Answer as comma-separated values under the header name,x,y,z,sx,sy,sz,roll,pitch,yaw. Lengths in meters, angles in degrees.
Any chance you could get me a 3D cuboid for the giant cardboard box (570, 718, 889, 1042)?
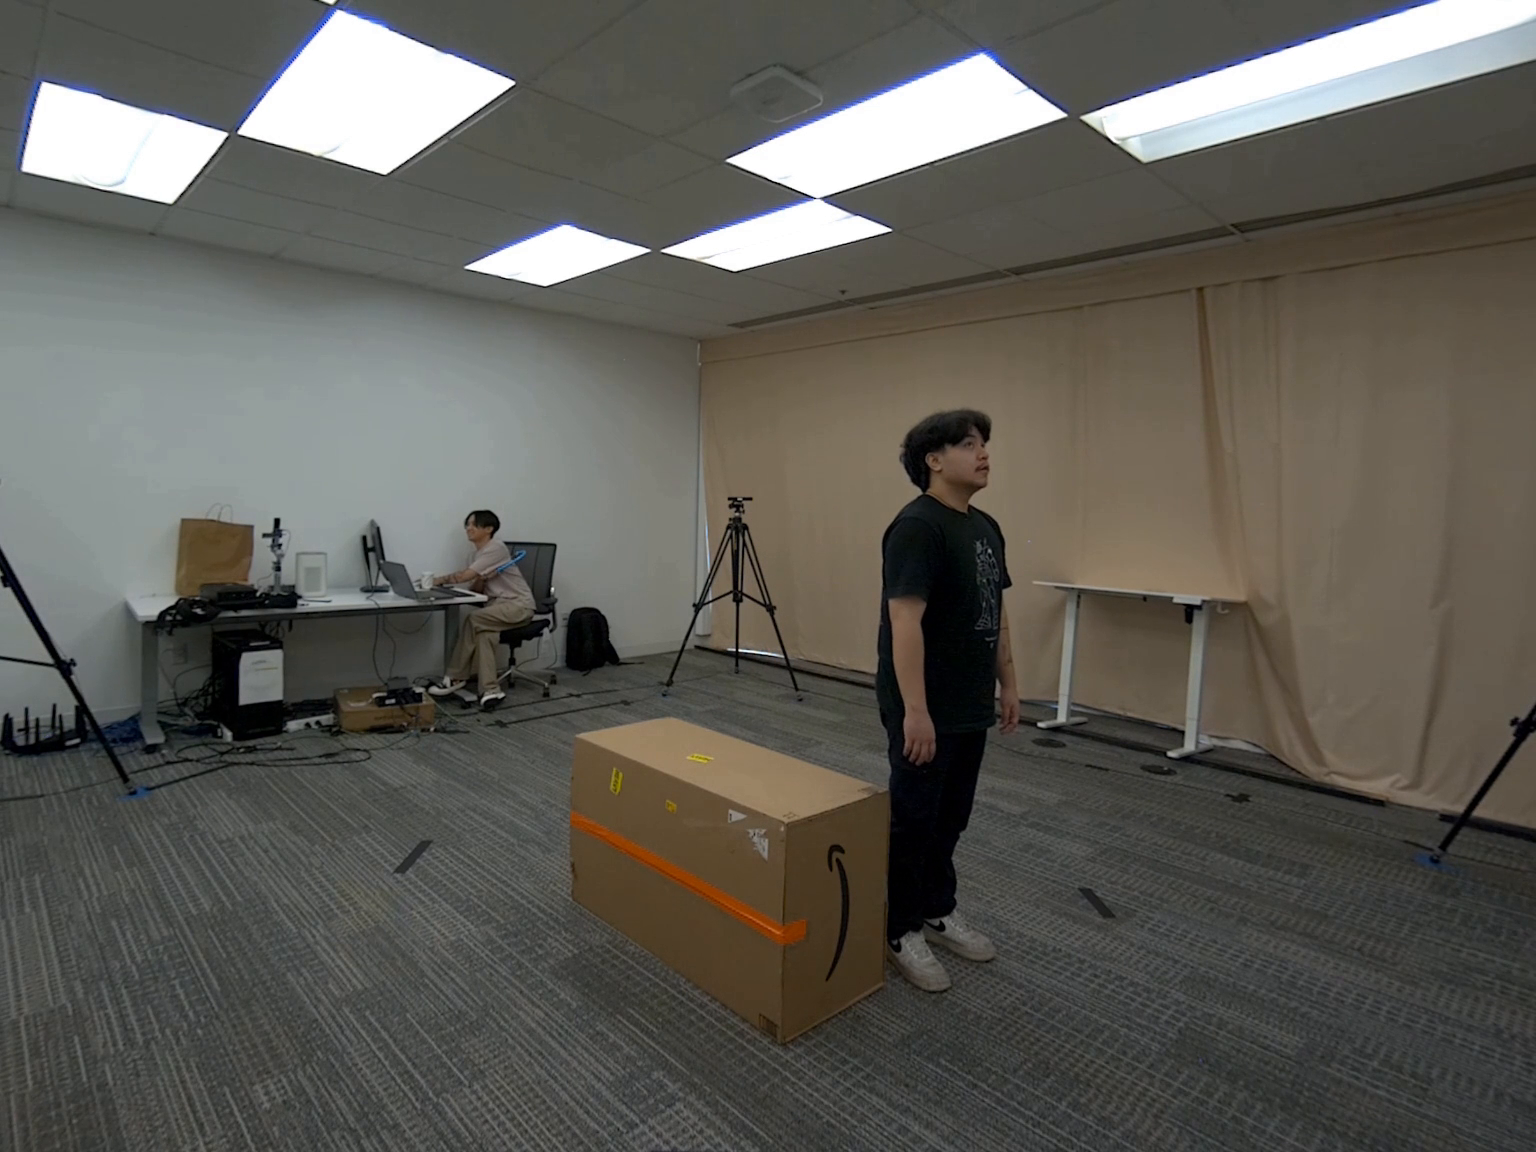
name,x,y,z,sx,sy,sz,roll,pitch,yaw
giant cardboard box,-0.174,0.865,2.644,0.437,0.582,1.053,-3,6,-43
